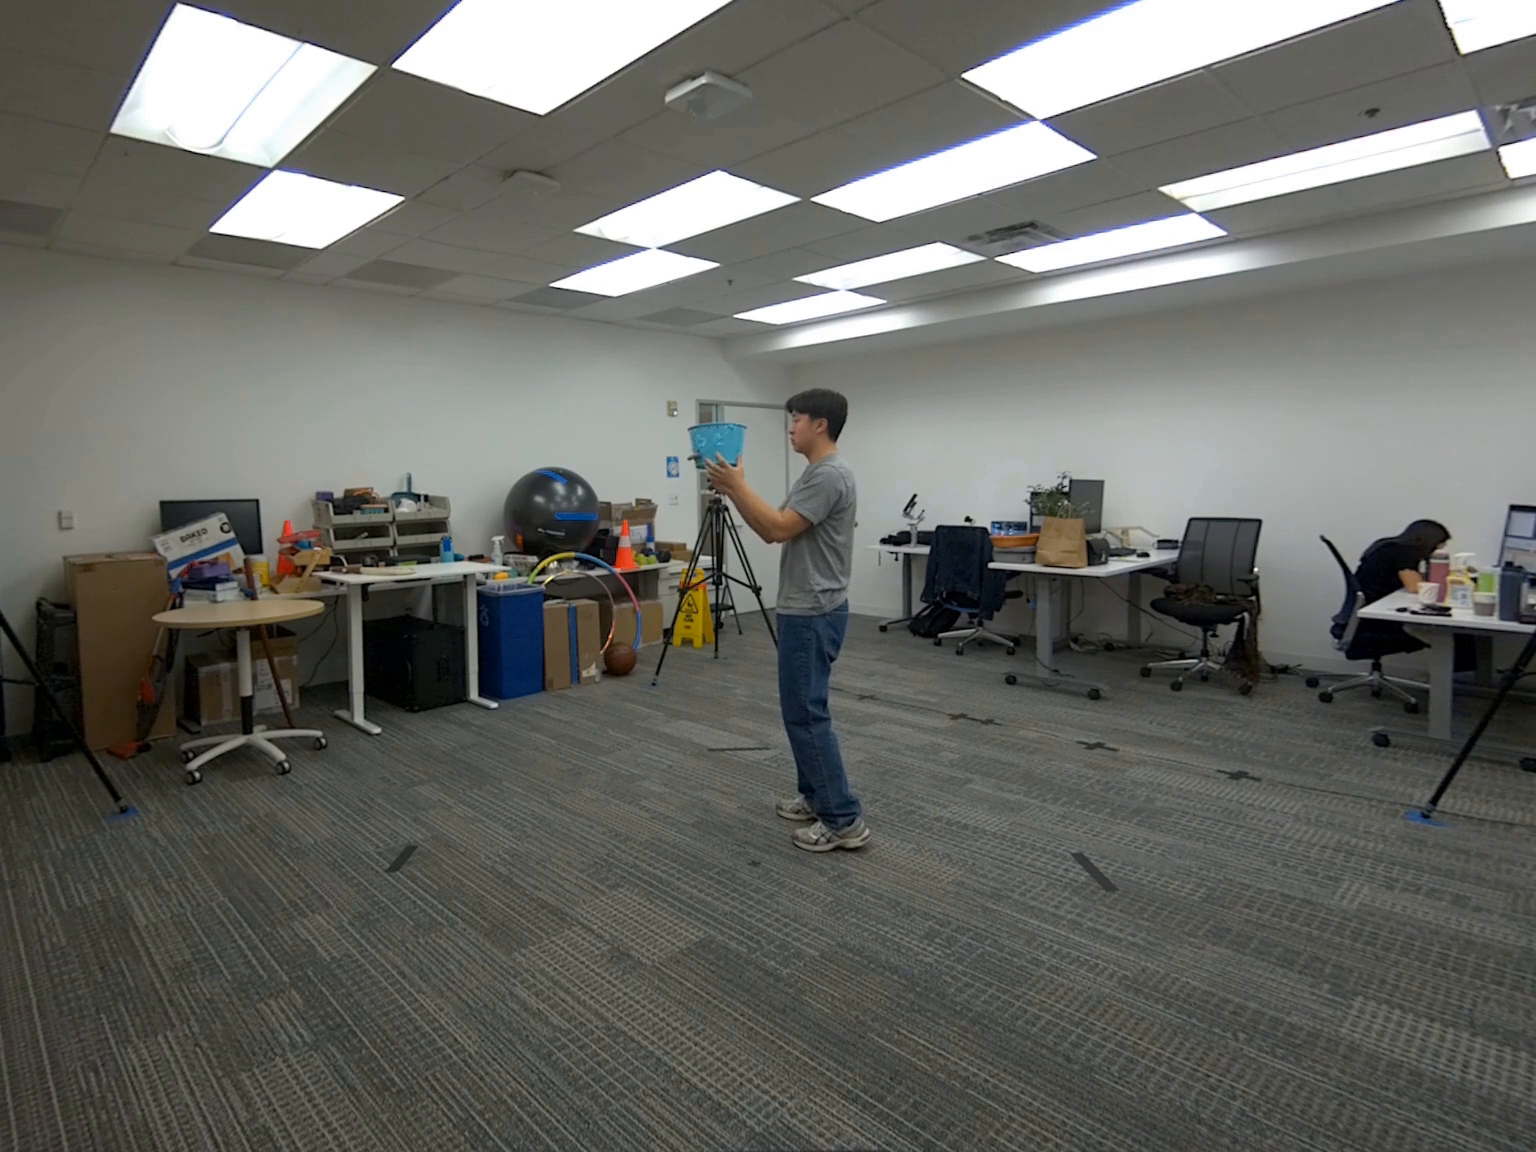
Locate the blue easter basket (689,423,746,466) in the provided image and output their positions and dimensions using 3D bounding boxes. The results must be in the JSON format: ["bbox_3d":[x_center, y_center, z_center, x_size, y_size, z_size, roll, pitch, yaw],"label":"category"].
[{"bbox_3d":[-0.198,-0.510,3.377,0.243,0.156,0.243,-3,-1,-2],"label":"blue easter basket"}]
